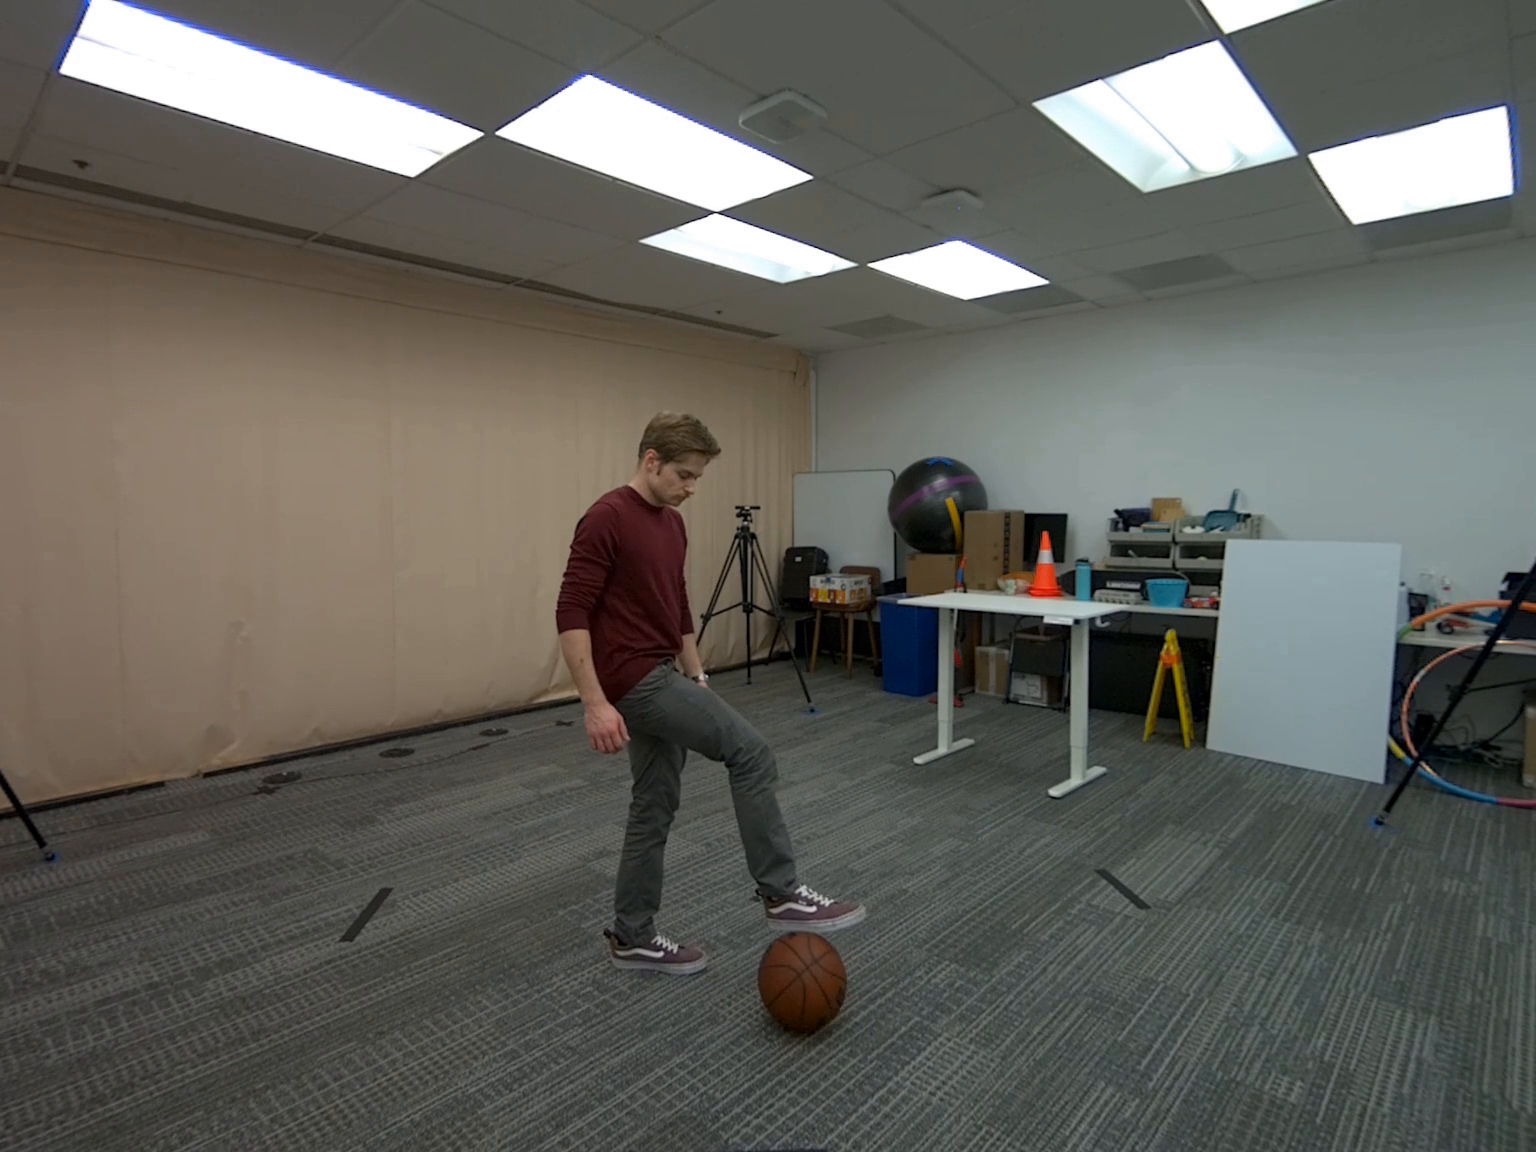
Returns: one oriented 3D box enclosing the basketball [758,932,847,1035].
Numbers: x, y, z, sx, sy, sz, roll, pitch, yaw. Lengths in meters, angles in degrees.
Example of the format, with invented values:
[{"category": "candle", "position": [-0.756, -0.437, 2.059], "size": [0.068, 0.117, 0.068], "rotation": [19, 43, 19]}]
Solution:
[{"category": "basketball", "position": [0.095, 1.088, 2.252], "size": [0.236, 0.235, 0.237], "rotation": [0, 4, -2]}]
